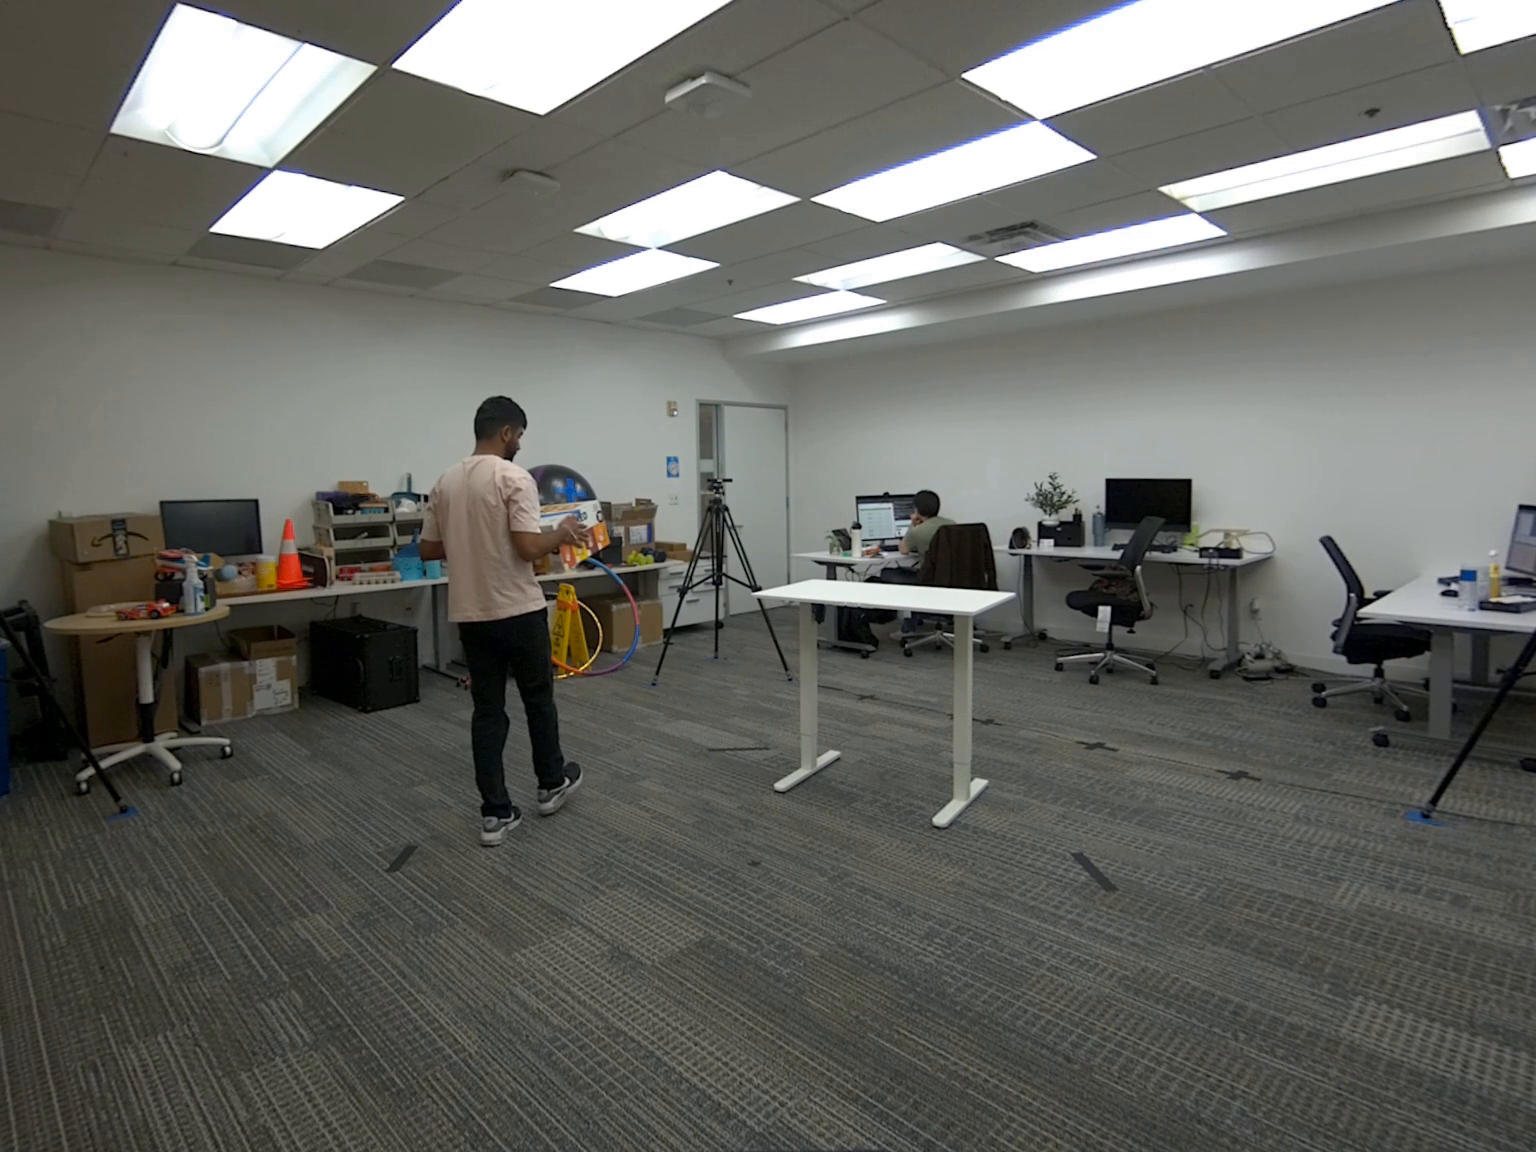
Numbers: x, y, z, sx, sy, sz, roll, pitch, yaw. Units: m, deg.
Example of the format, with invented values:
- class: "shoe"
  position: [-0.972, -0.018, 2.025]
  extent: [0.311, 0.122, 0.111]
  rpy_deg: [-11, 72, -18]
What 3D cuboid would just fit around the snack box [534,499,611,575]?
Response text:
- class: "snack box"
  position: [-0.956, -0.164, 3.660]
  extent: [0.414, 0.202, 0.338]
  rpy_deg: [-3, 19, 26]
